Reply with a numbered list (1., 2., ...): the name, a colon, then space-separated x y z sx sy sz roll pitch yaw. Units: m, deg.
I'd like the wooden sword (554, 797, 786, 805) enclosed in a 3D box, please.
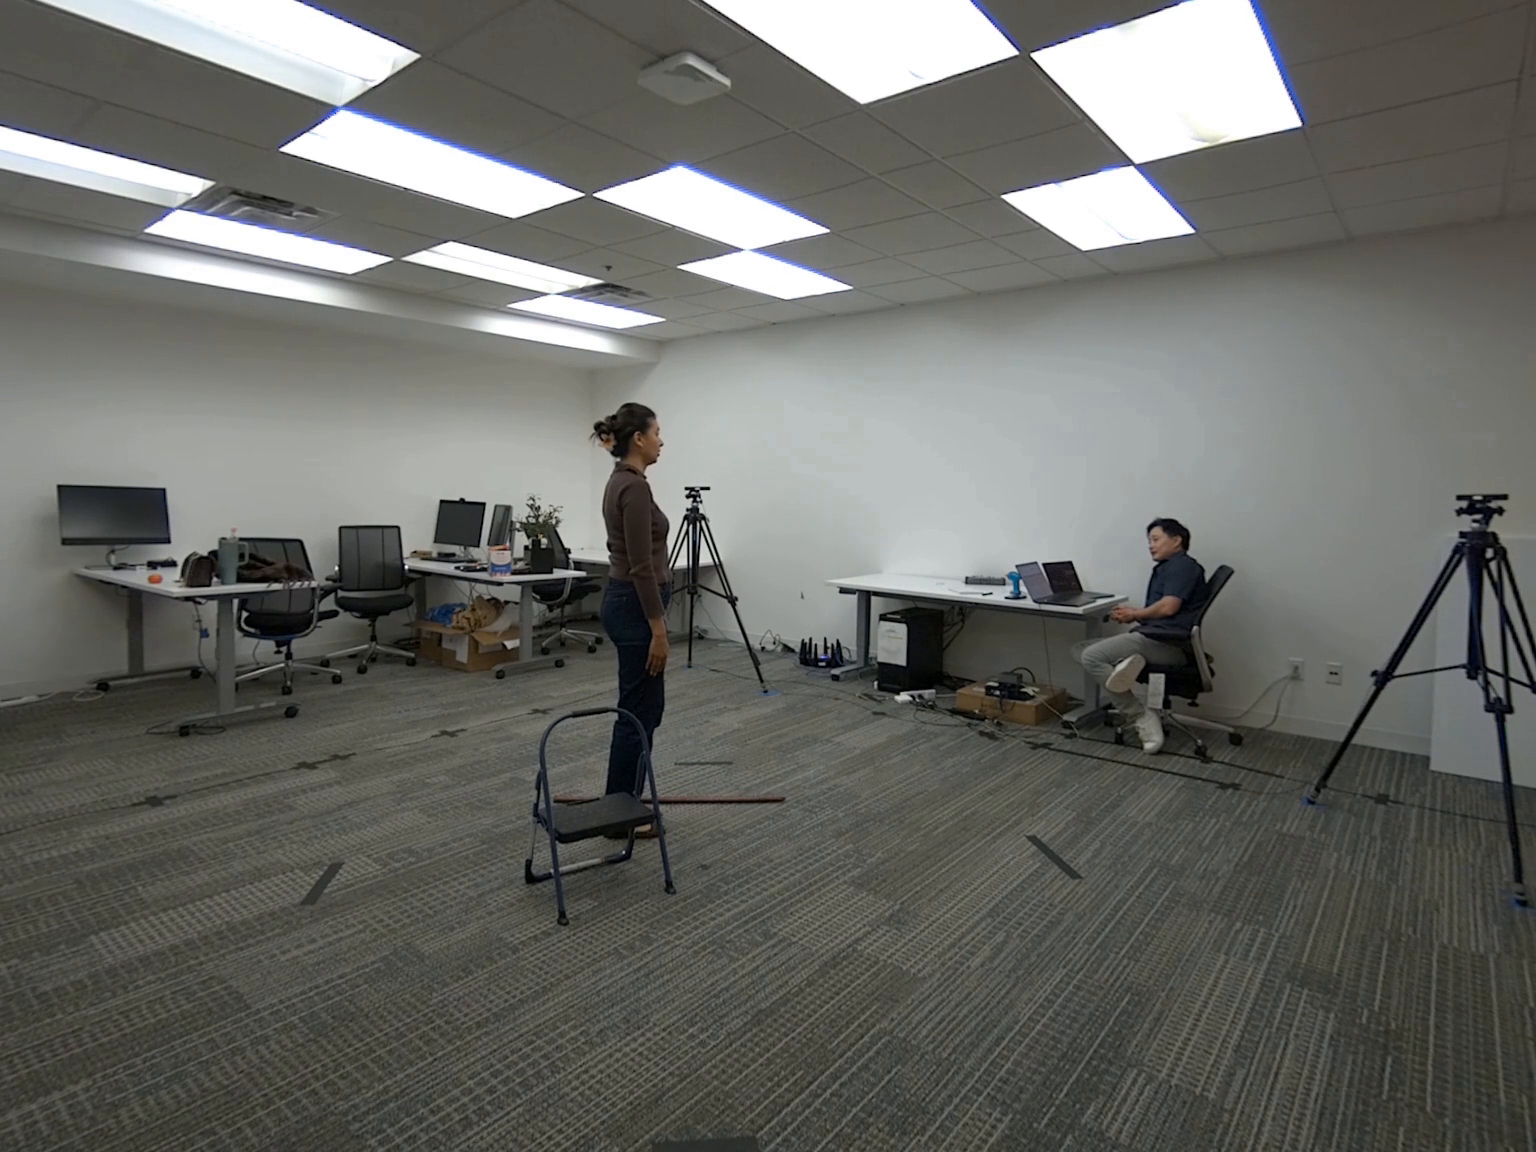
1. wooden sword: -0.443 0.971 3.743 1.023 0.024 0.051 0 -9 -1
